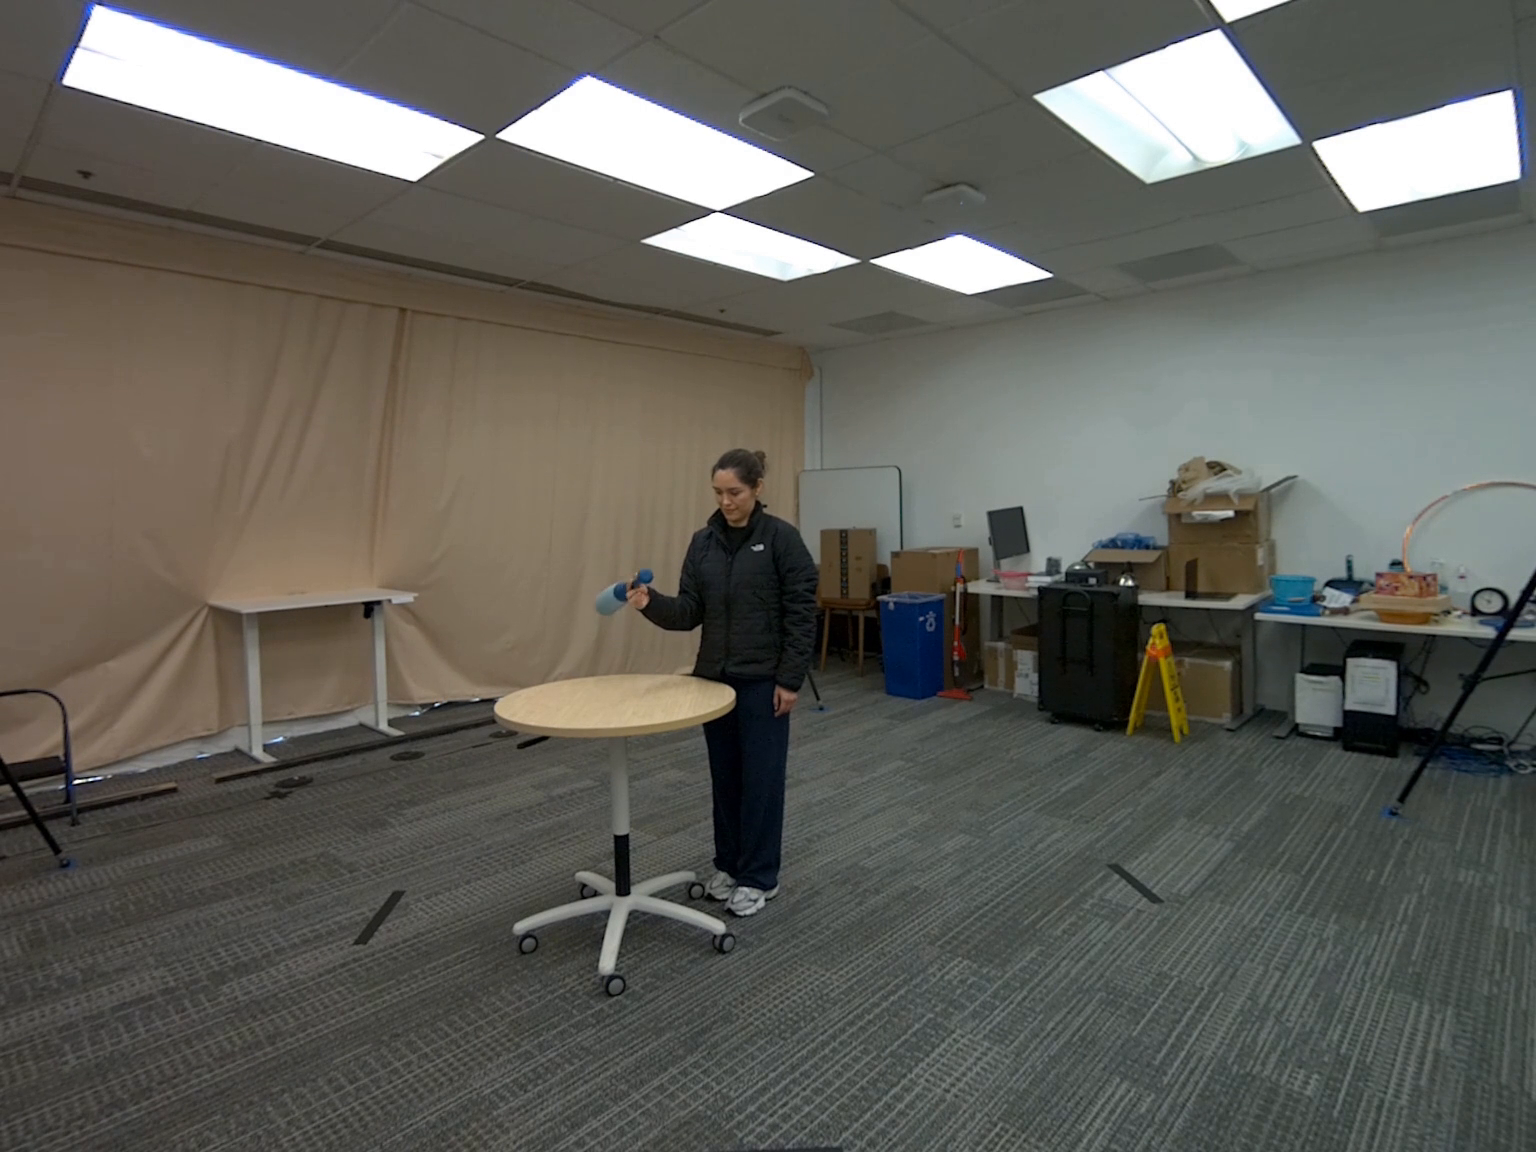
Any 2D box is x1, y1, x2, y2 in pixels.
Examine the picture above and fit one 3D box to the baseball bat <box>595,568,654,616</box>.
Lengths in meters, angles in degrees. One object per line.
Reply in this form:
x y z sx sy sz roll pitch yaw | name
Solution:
-0.483 0.050 2.873 0.087 0.090 0.551 -2 -11 -25 | baseball bat
